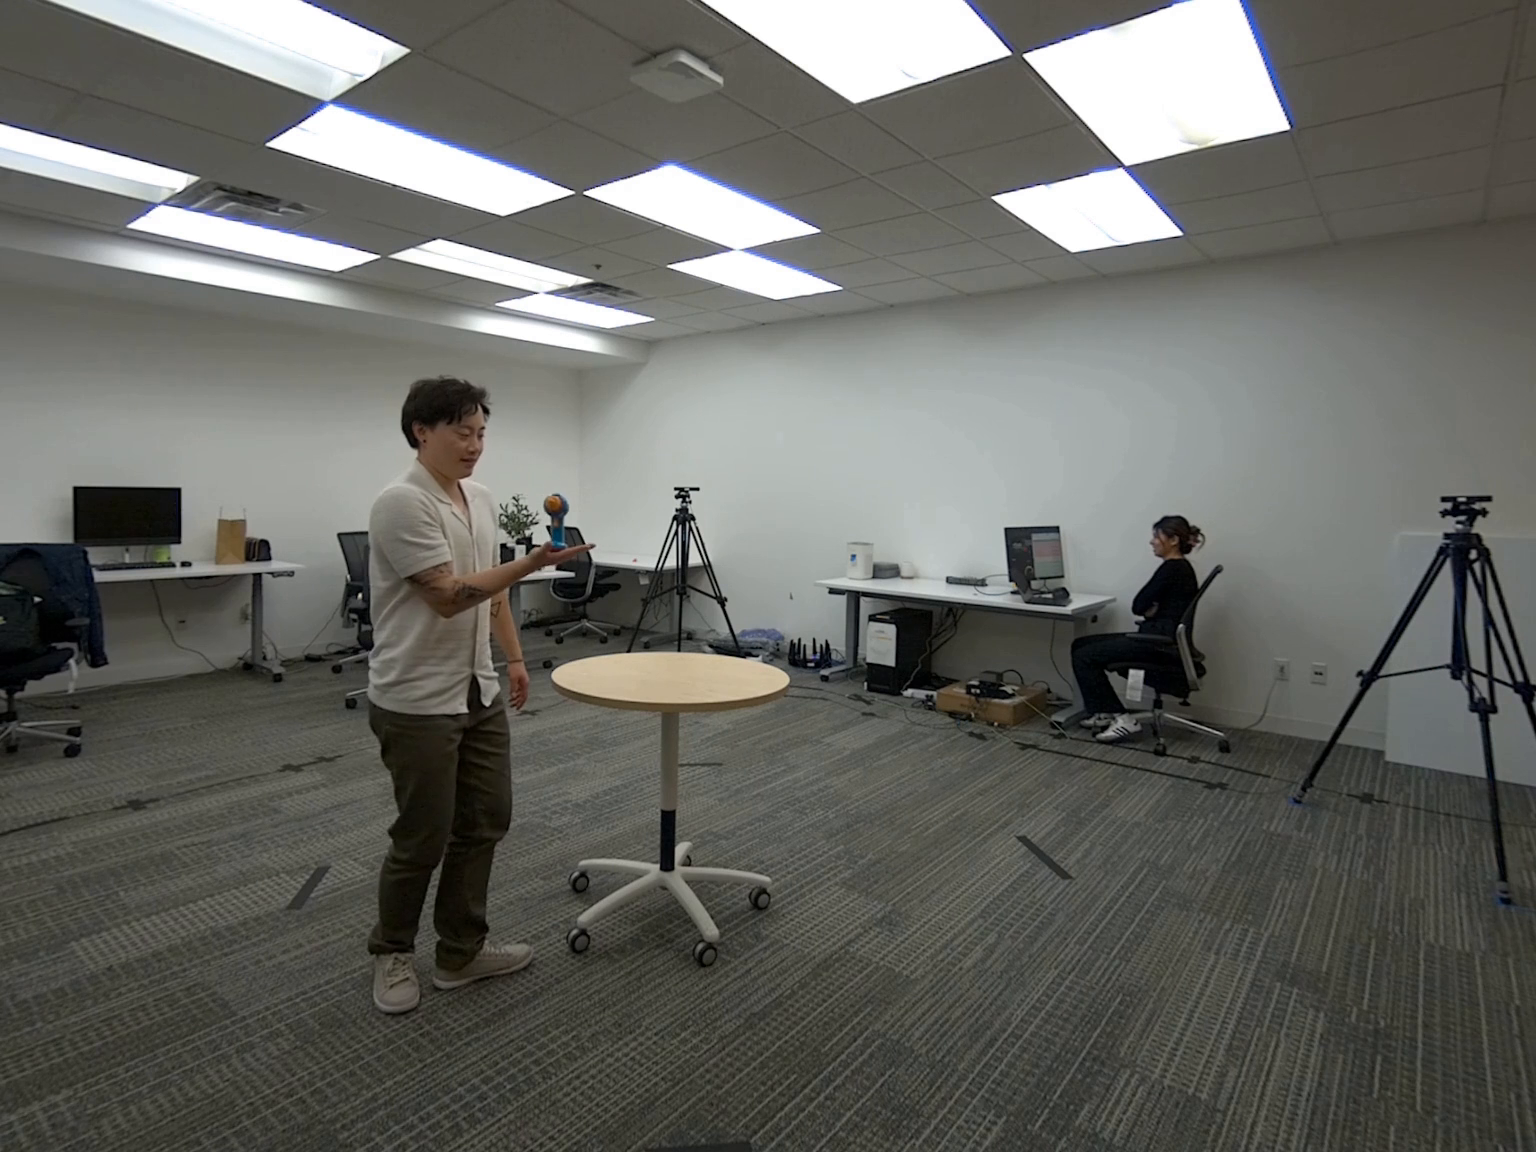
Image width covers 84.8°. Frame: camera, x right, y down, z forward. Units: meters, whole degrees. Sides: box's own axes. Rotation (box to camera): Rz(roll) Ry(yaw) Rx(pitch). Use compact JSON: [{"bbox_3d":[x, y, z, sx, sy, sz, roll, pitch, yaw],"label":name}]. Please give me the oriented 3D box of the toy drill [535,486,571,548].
[{"bbox_3d":[-0.538,-0.137,2.112,0.061,0.147,0.170,1,-6,-7],"label":"toy drill"}]
